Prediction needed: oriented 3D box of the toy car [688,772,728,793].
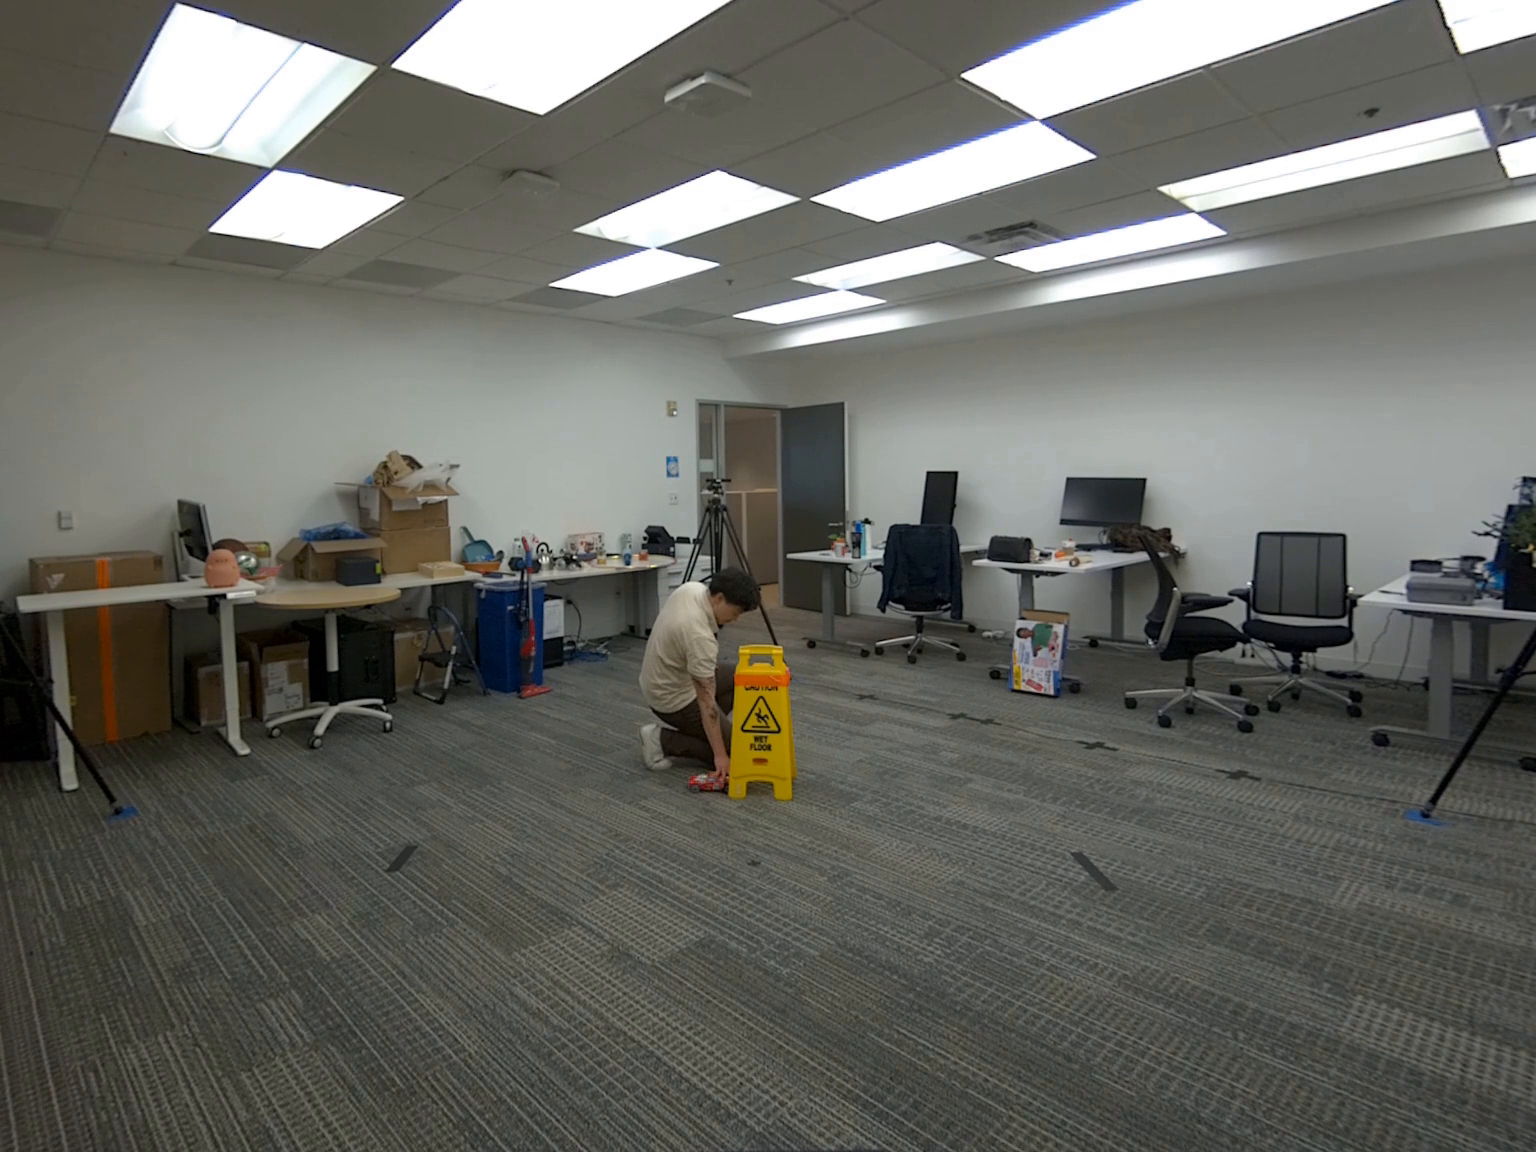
[{"bbox_3d":[-0.239,0.934,3.880,0.256,0.083,0.130,-9,5,8],"label":"toy car"}]
